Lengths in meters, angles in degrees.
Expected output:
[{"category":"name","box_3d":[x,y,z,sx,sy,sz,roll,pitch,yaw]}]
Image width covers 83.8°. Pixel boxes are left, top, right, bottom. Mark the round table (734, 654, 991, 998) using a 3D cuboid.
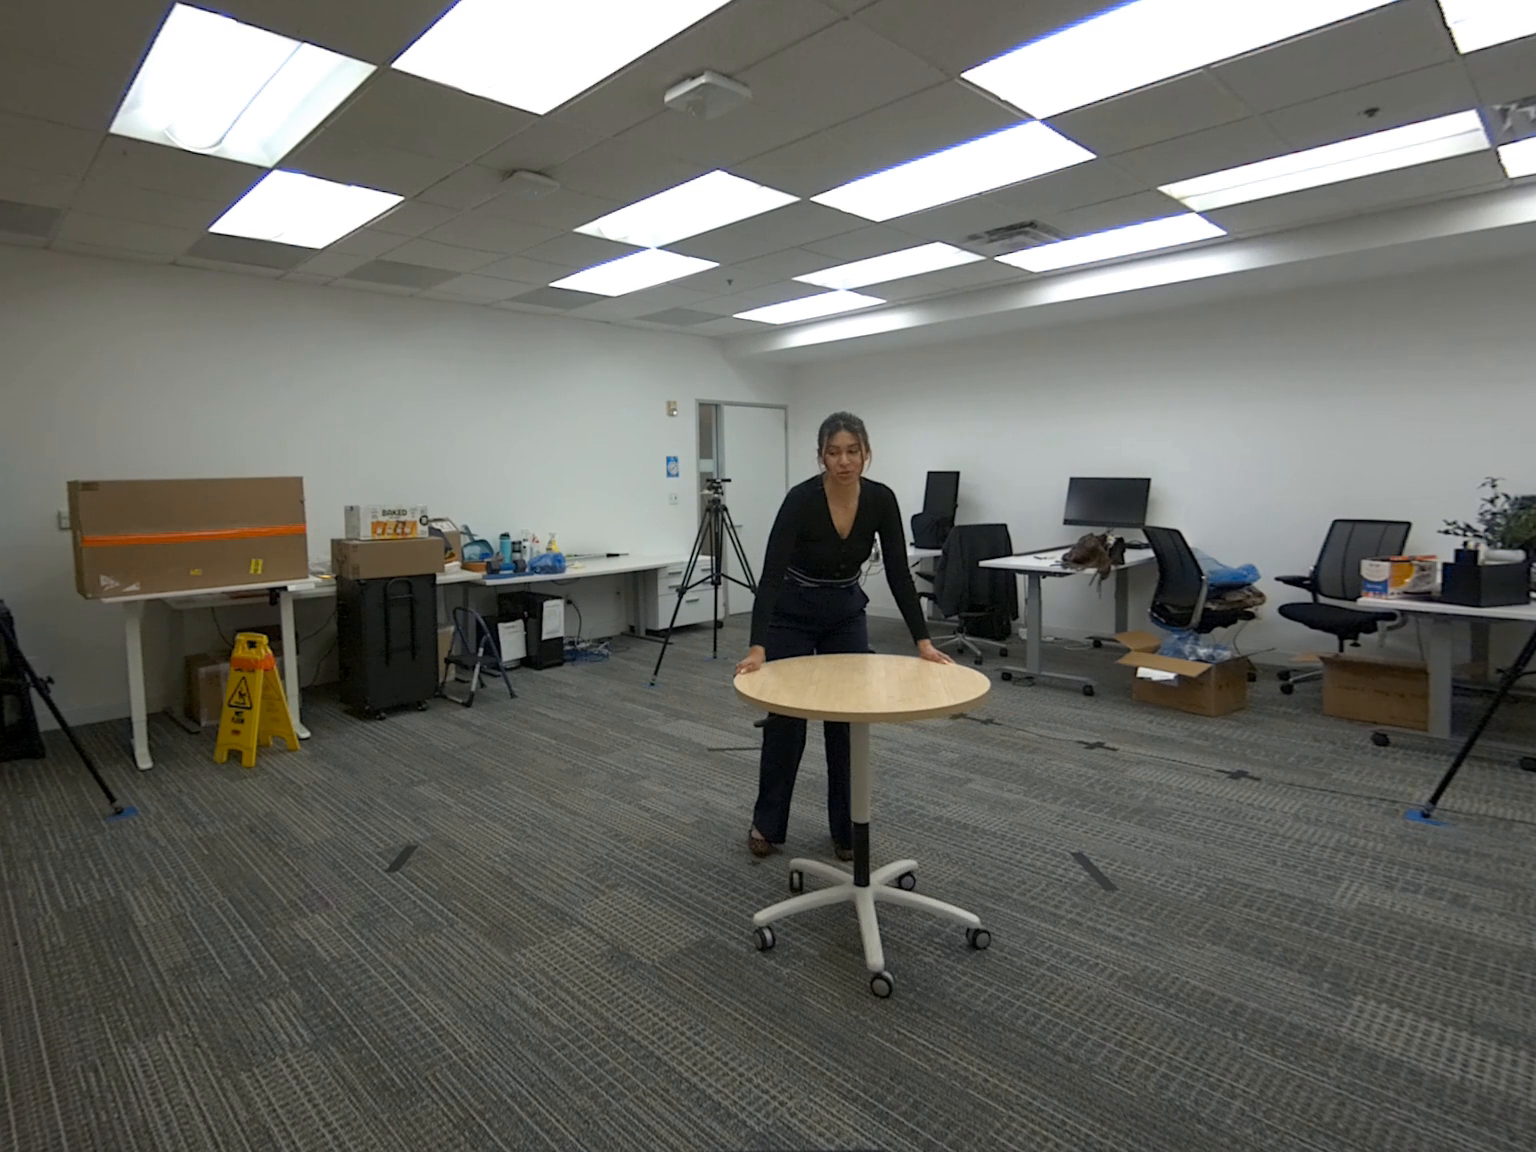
[{"category":"round table","box_3d":[0.288,0.708,2.627,0.763,0.791,0.768,-1,5,-2]}]
